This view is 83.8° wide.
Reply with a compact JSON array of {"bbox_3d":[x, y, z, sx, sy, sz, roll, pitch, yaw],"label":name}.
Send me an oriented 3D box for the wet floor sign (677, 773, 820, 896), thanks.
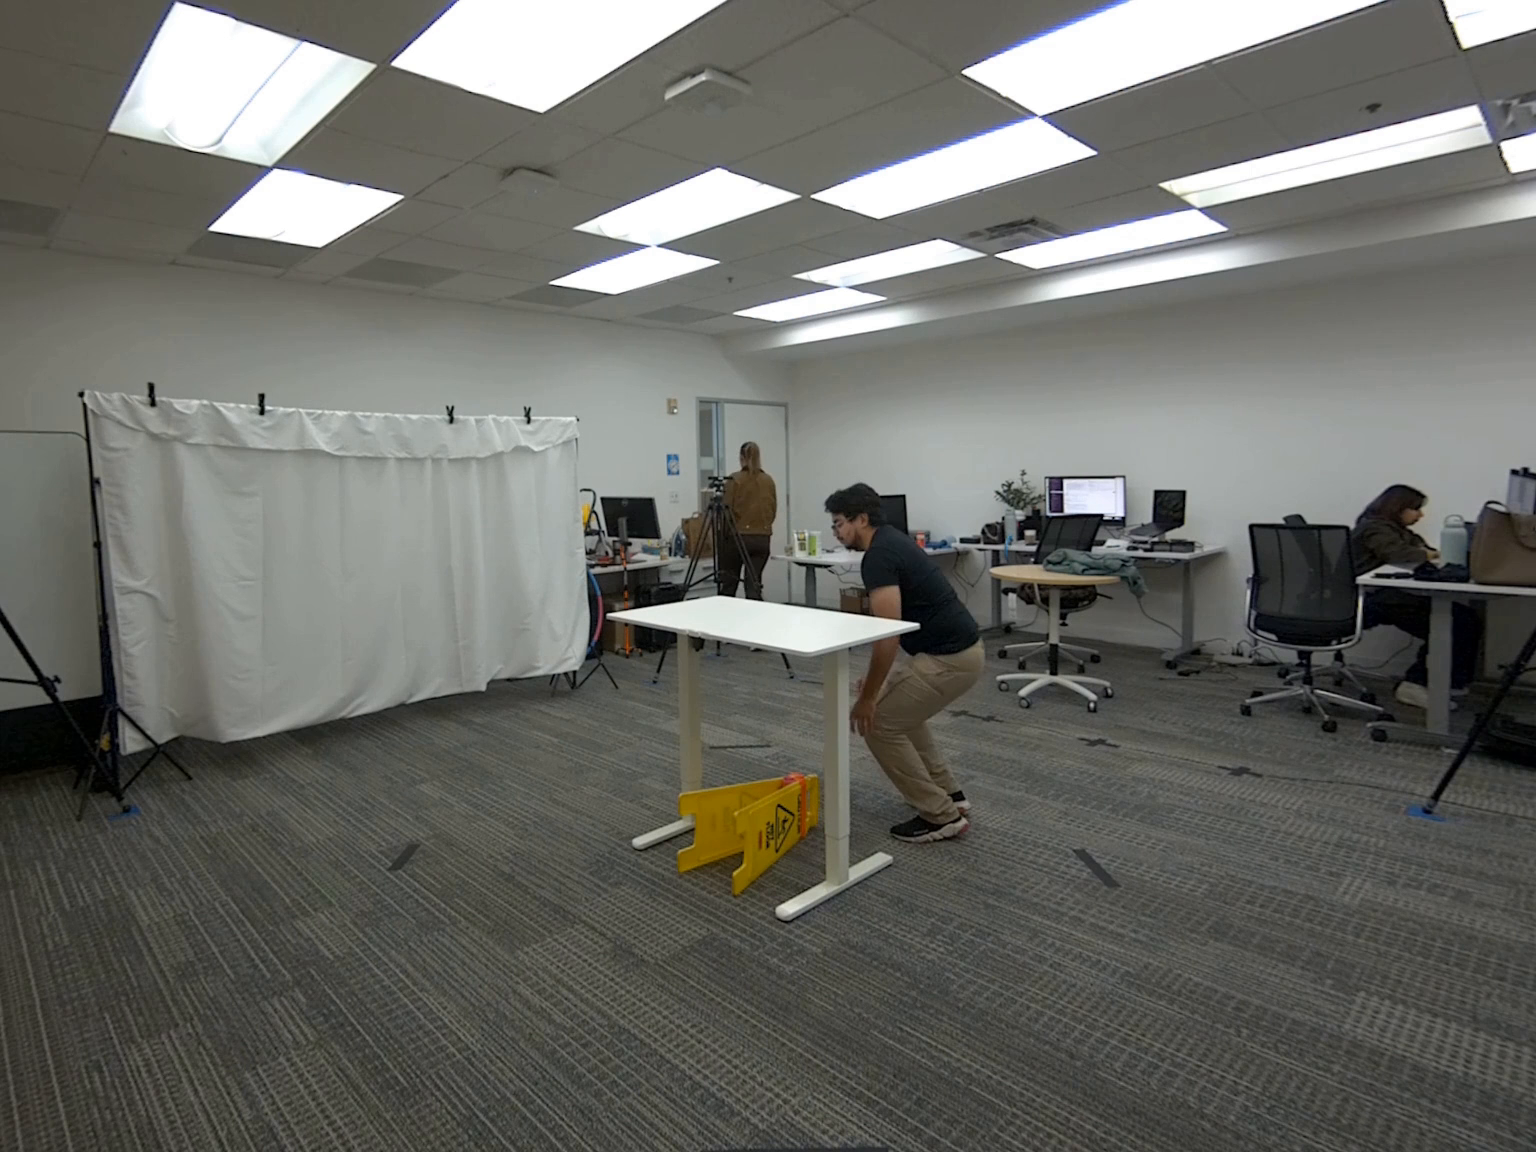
[{"bbox_3d":[-0.014,0.907,3.173,0.298,0.281,0.628,3,5,40],"label":"wet floor sign"}]
